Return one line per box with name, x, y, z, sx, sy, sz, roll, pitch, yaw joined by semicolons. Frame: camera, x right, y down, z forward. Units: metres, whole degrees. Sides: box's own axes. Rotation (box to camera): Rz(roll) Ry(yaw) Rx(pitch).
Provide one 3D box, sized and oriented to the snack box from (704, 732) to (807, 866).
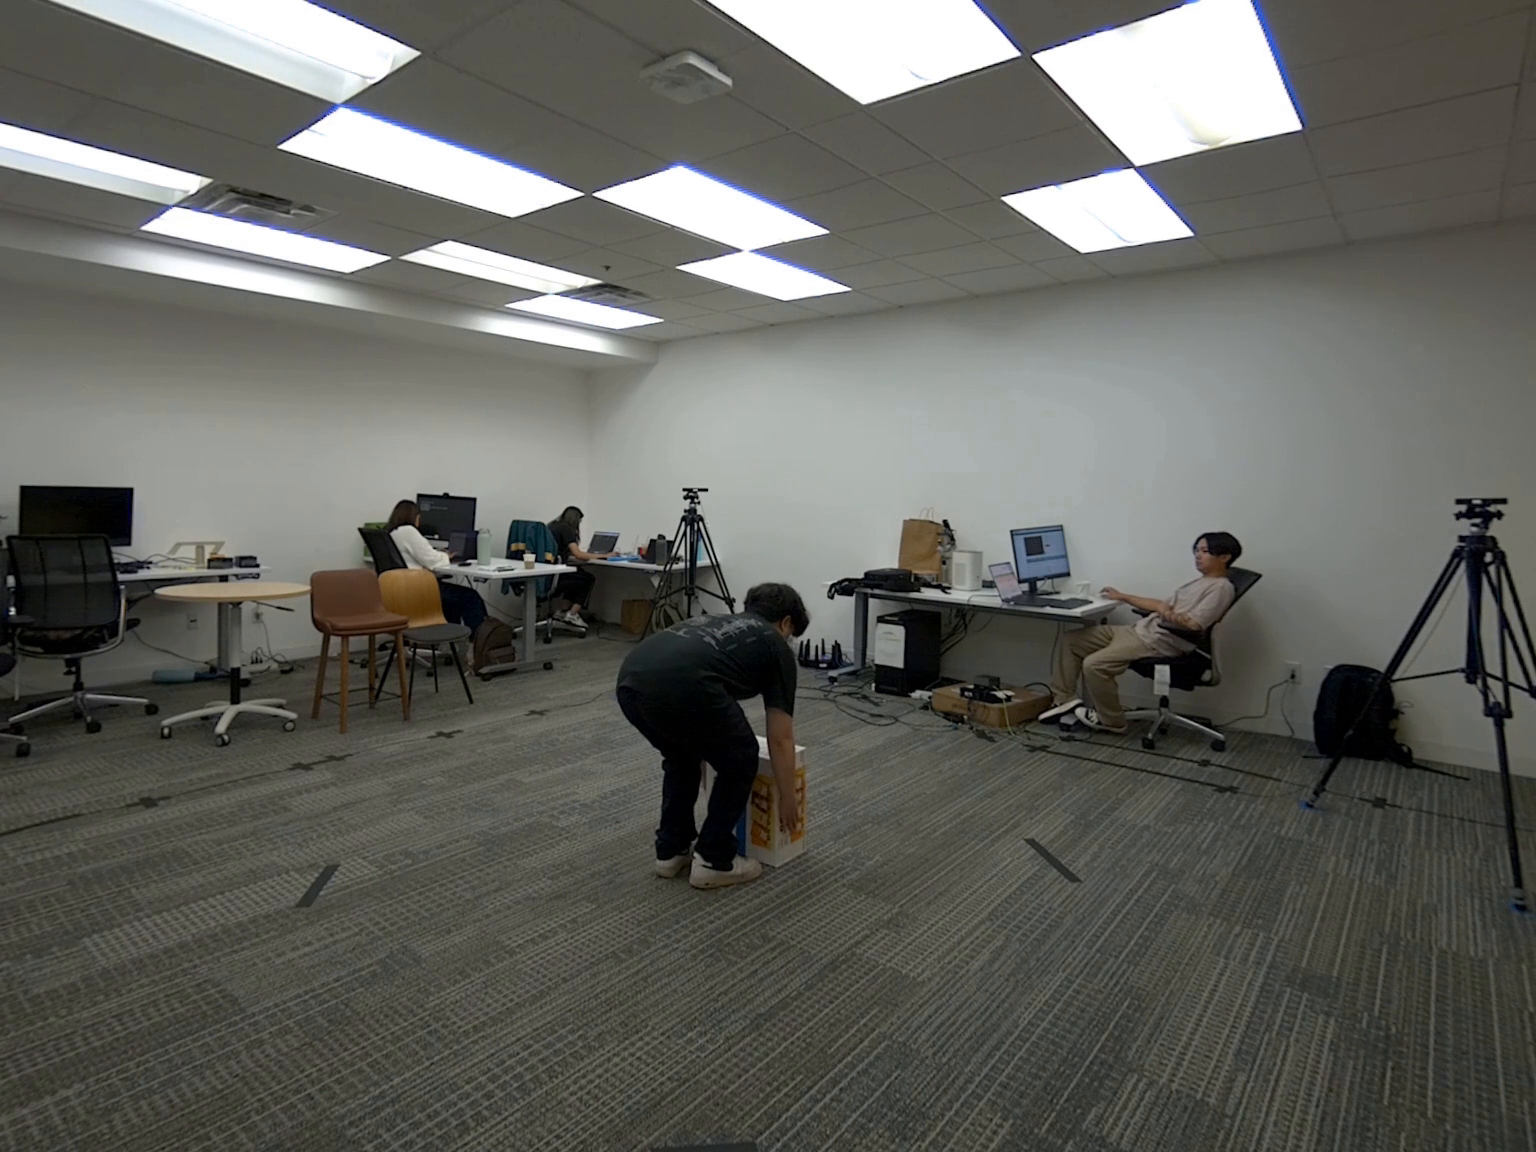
snack box;-0.054;0.850;3.291;0.351;0.404;0.200;4;5;38
